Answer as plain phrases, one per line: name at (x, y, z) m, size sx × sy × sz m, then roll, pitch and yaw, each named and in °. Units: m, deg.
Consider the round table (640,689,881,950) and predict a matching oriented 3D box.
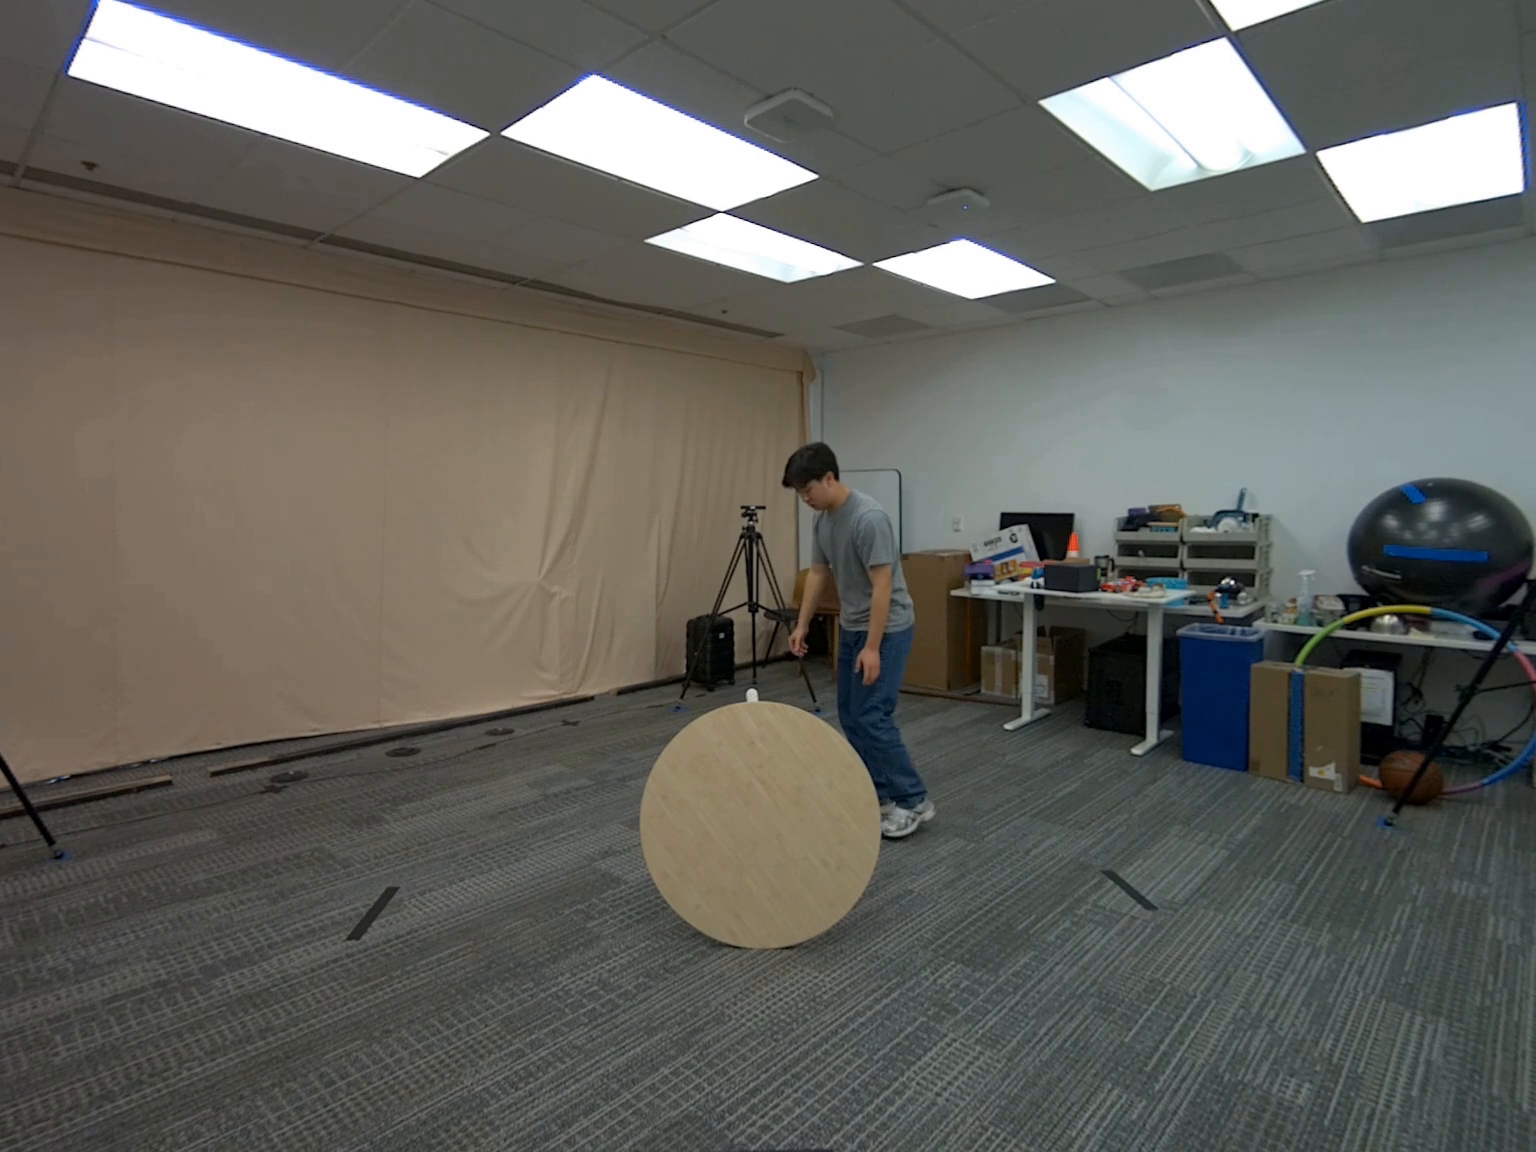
round table at (-0.029, 0.804, 3.062) m, size 0.765 × 0.765 × 0.791 m, roll 0°, pitch -2°, yaw 1°
